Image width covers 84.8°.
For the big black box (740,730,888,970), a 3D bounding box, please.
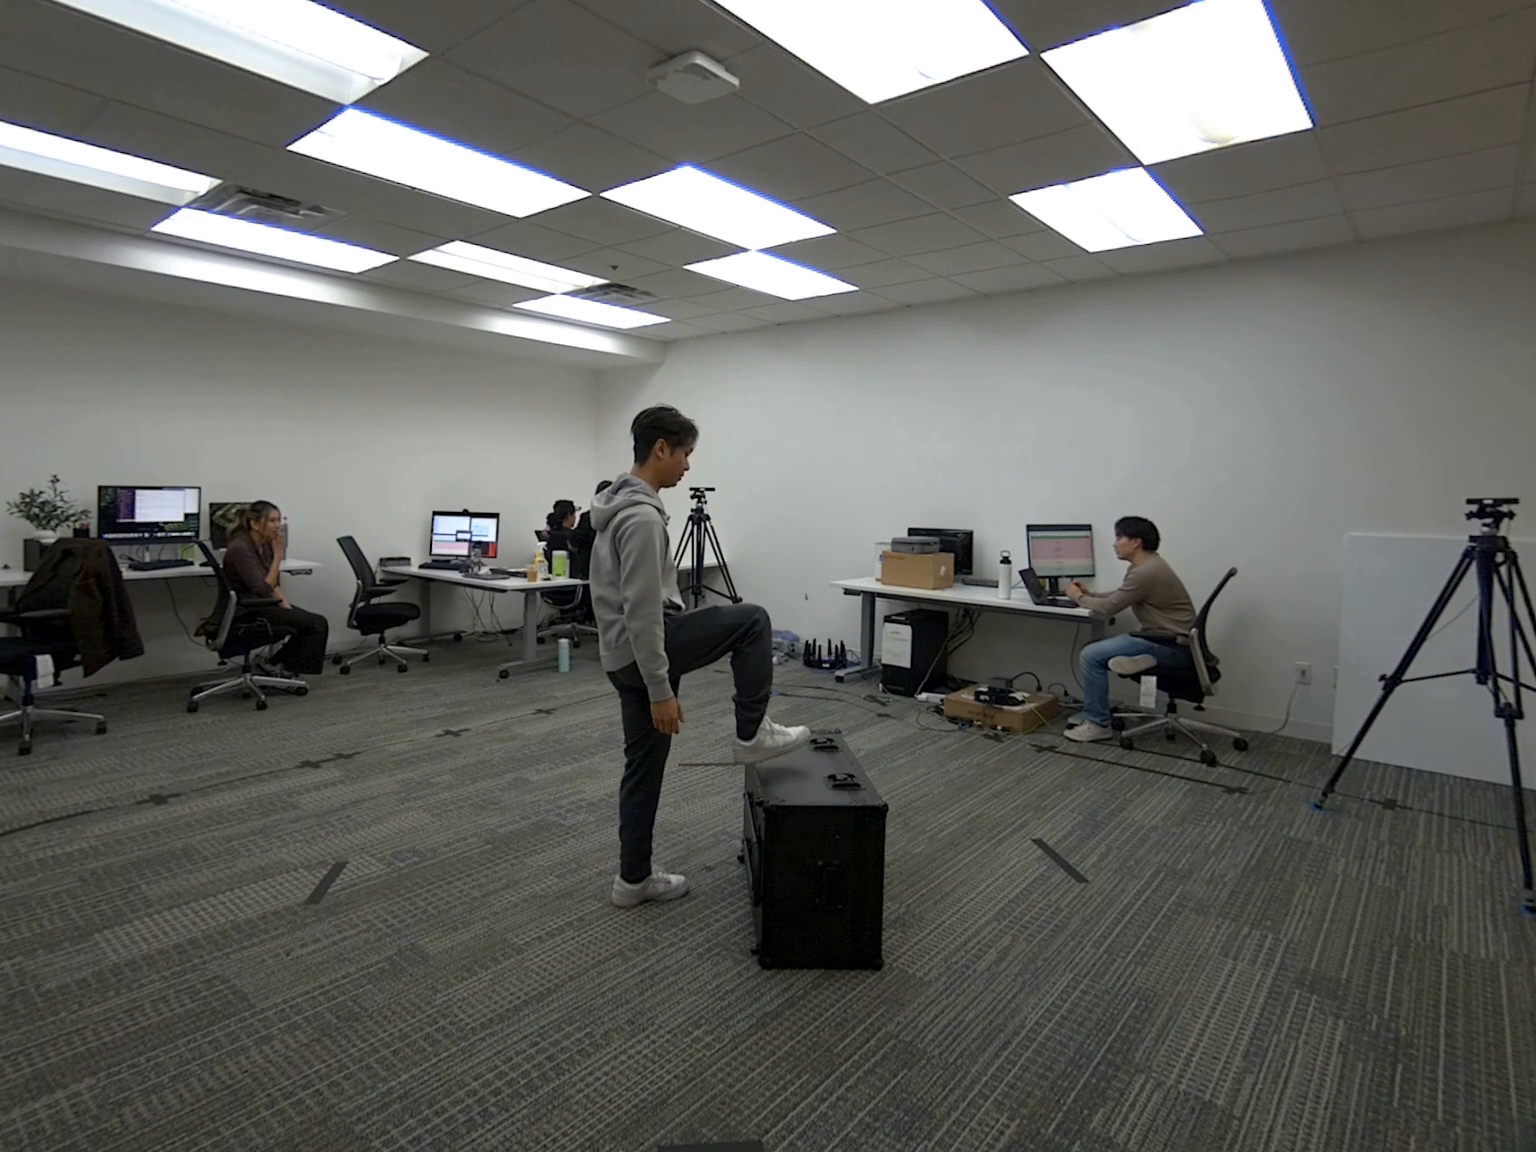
[{"bbox_3d":[0.102,0.853,2.870,0.395,0.519,0.868,1,5,-5],"label":"big black box"}]
